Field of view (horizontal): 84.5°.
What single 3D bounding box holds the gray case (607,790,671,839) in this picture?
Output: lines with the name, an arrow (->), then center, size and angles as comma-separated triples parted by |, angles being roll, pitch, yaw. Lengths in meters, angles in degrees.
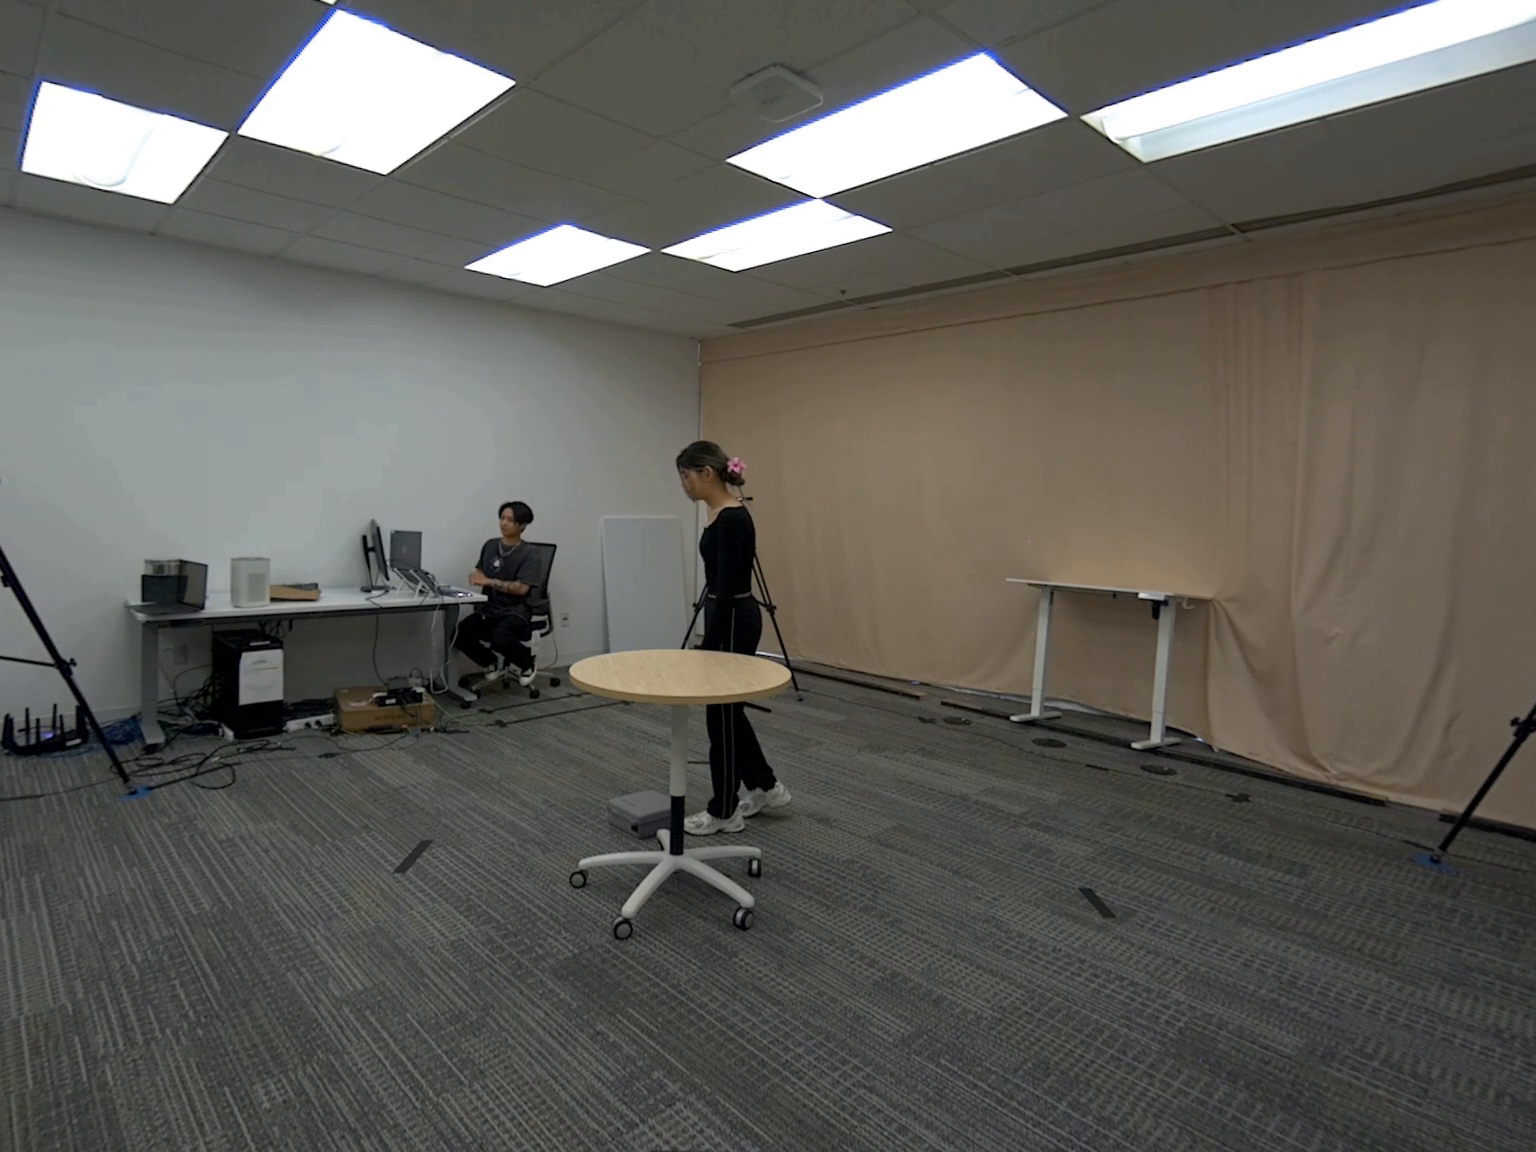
gray case -> -0.522, 0.998, 3.571 | 0.254, 0.104, 0.263 | -2, 5, -43
